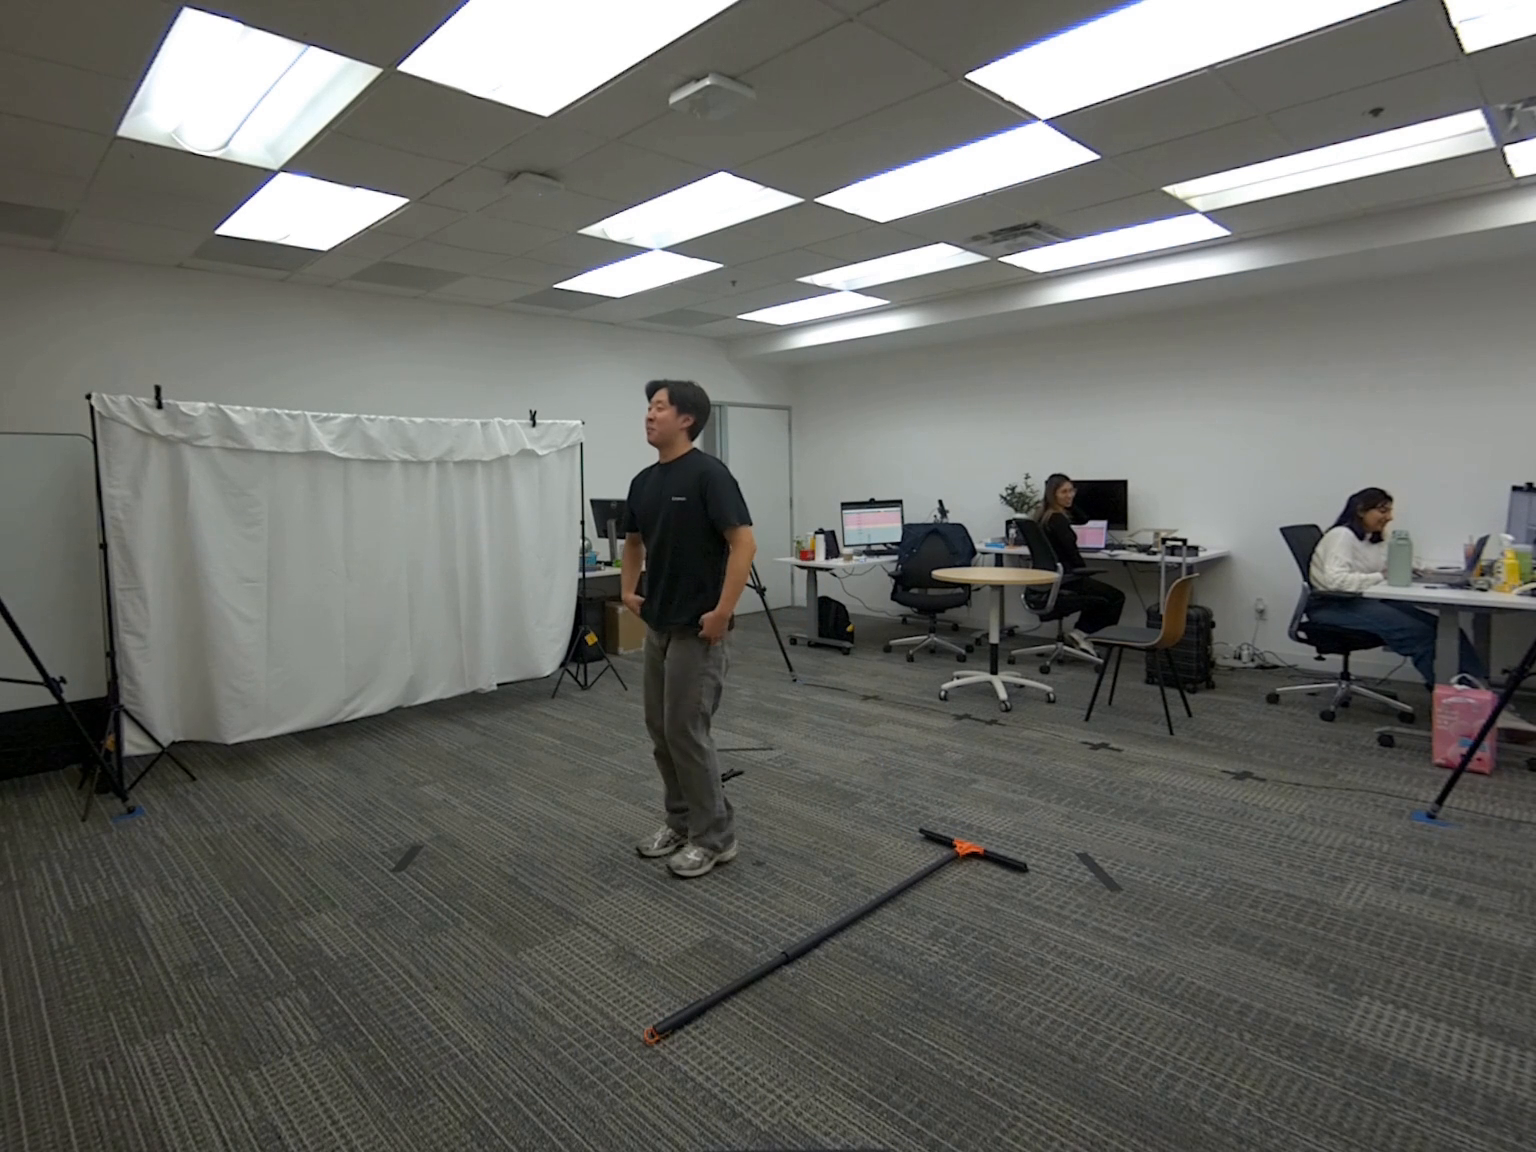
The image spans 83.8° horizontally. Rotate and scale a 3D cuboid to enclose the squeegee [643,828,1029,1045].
[{"bbox_3d":[0.223,1.054,2.656,1.499,0.052,0.451,-9,9,-43],"label":"squeegee"}]
